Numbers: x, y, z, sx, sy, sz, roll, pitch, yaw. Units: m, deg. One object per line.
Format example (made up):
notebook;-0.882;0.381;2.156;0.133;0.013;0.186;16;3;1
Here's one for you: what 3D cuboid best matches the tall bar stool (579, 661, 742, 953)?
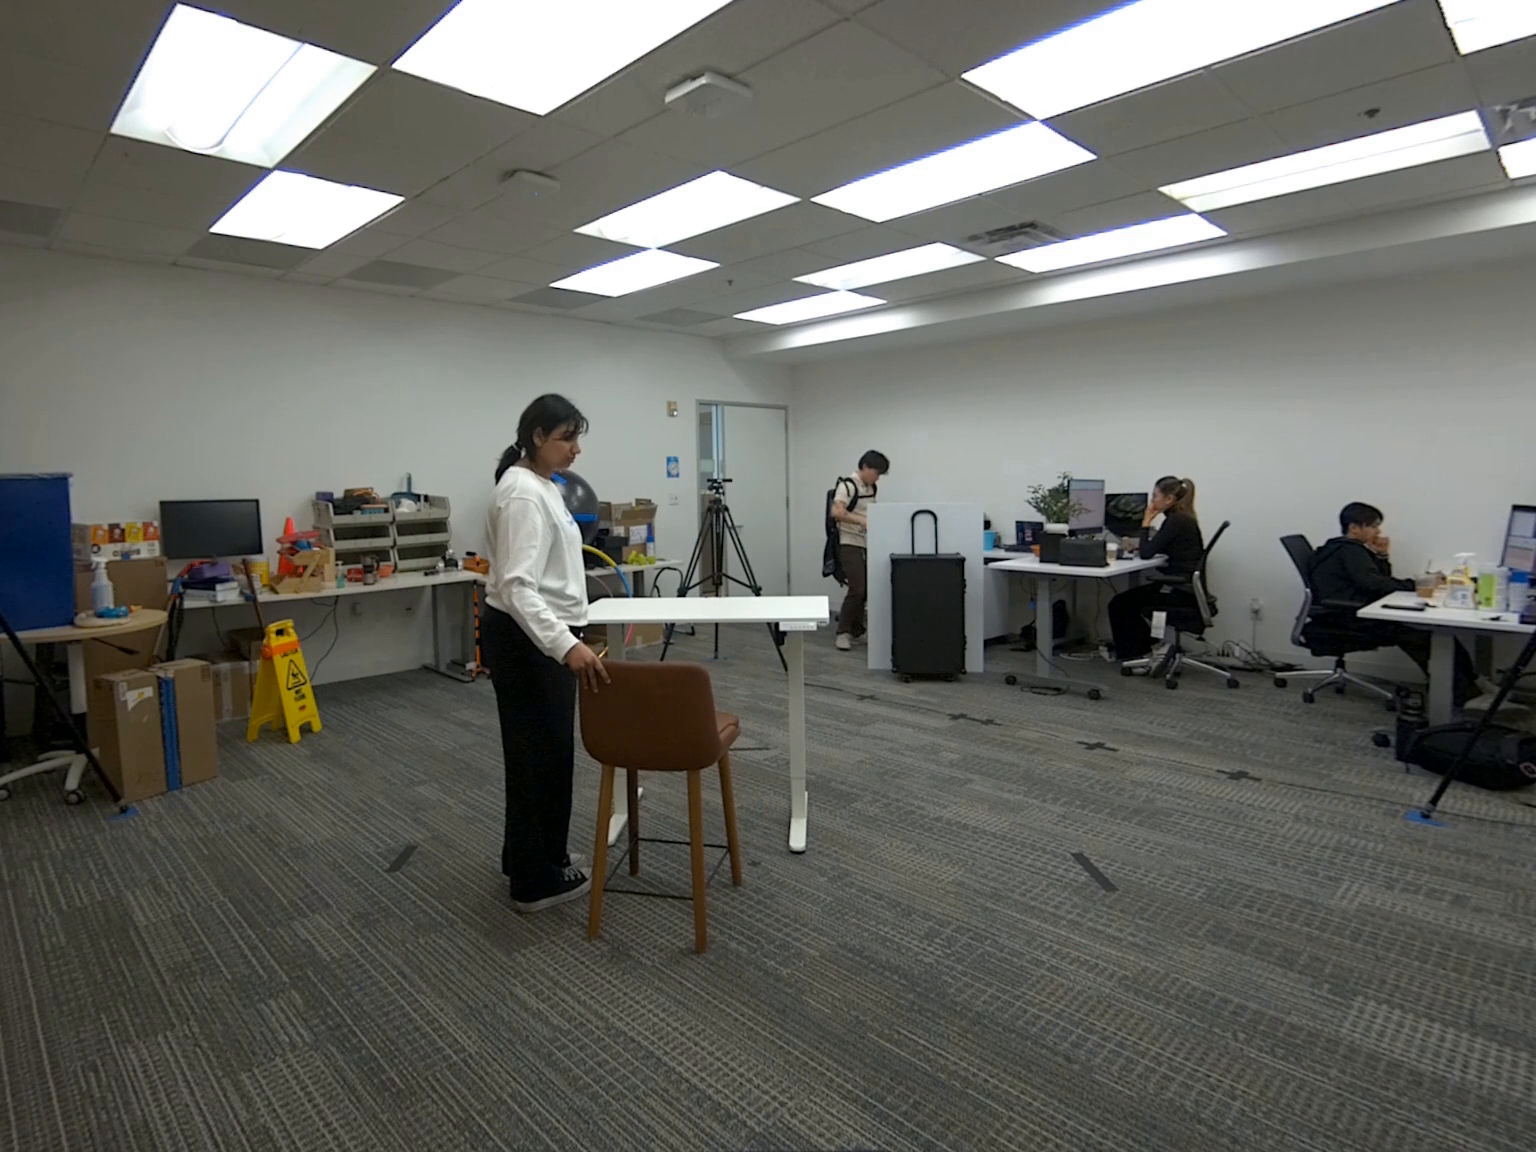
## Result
tall bar stool;-0.334;0.656;2.749;0.463;0.885;0.464;0;6;13
